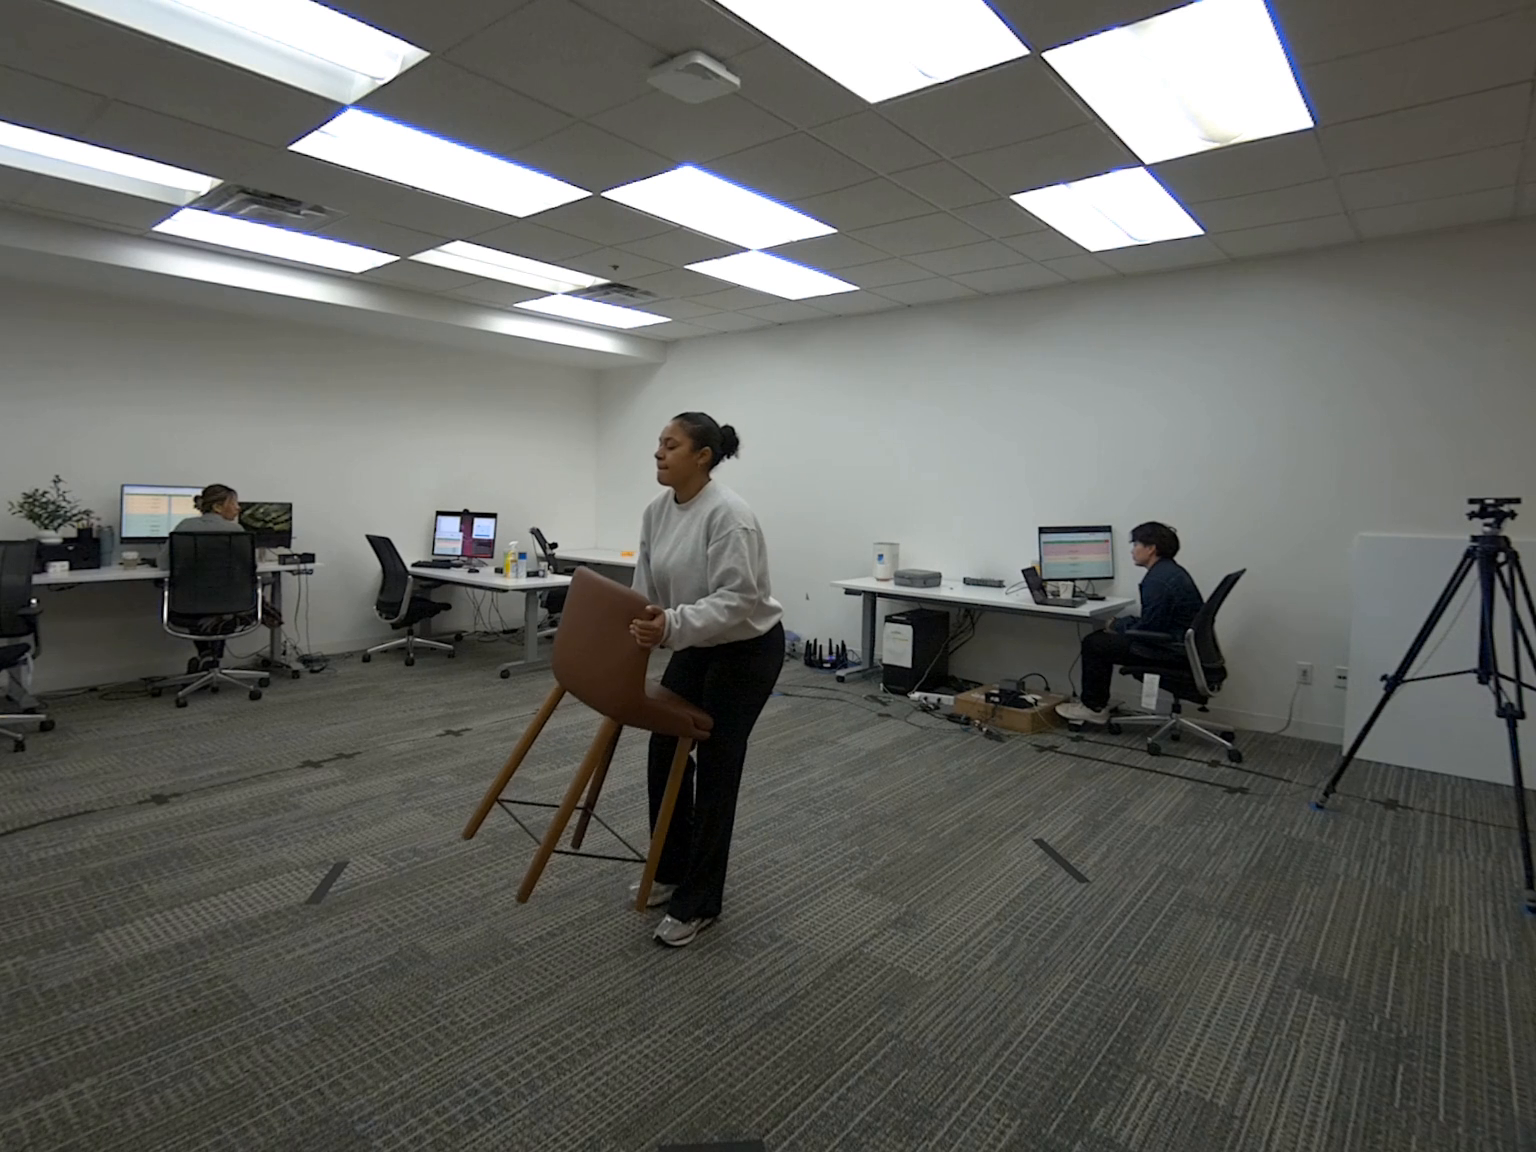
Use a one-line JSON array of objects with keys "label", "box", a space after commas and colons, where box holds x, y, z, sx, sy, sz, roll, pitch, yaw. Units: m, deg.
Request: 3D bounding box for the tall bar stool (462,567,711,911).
[{"label": "tall bar stool", "box": [-0.493, 0.484, 2.544, 0.474, 0.891, 0.449, 17, -4, 45]}]
